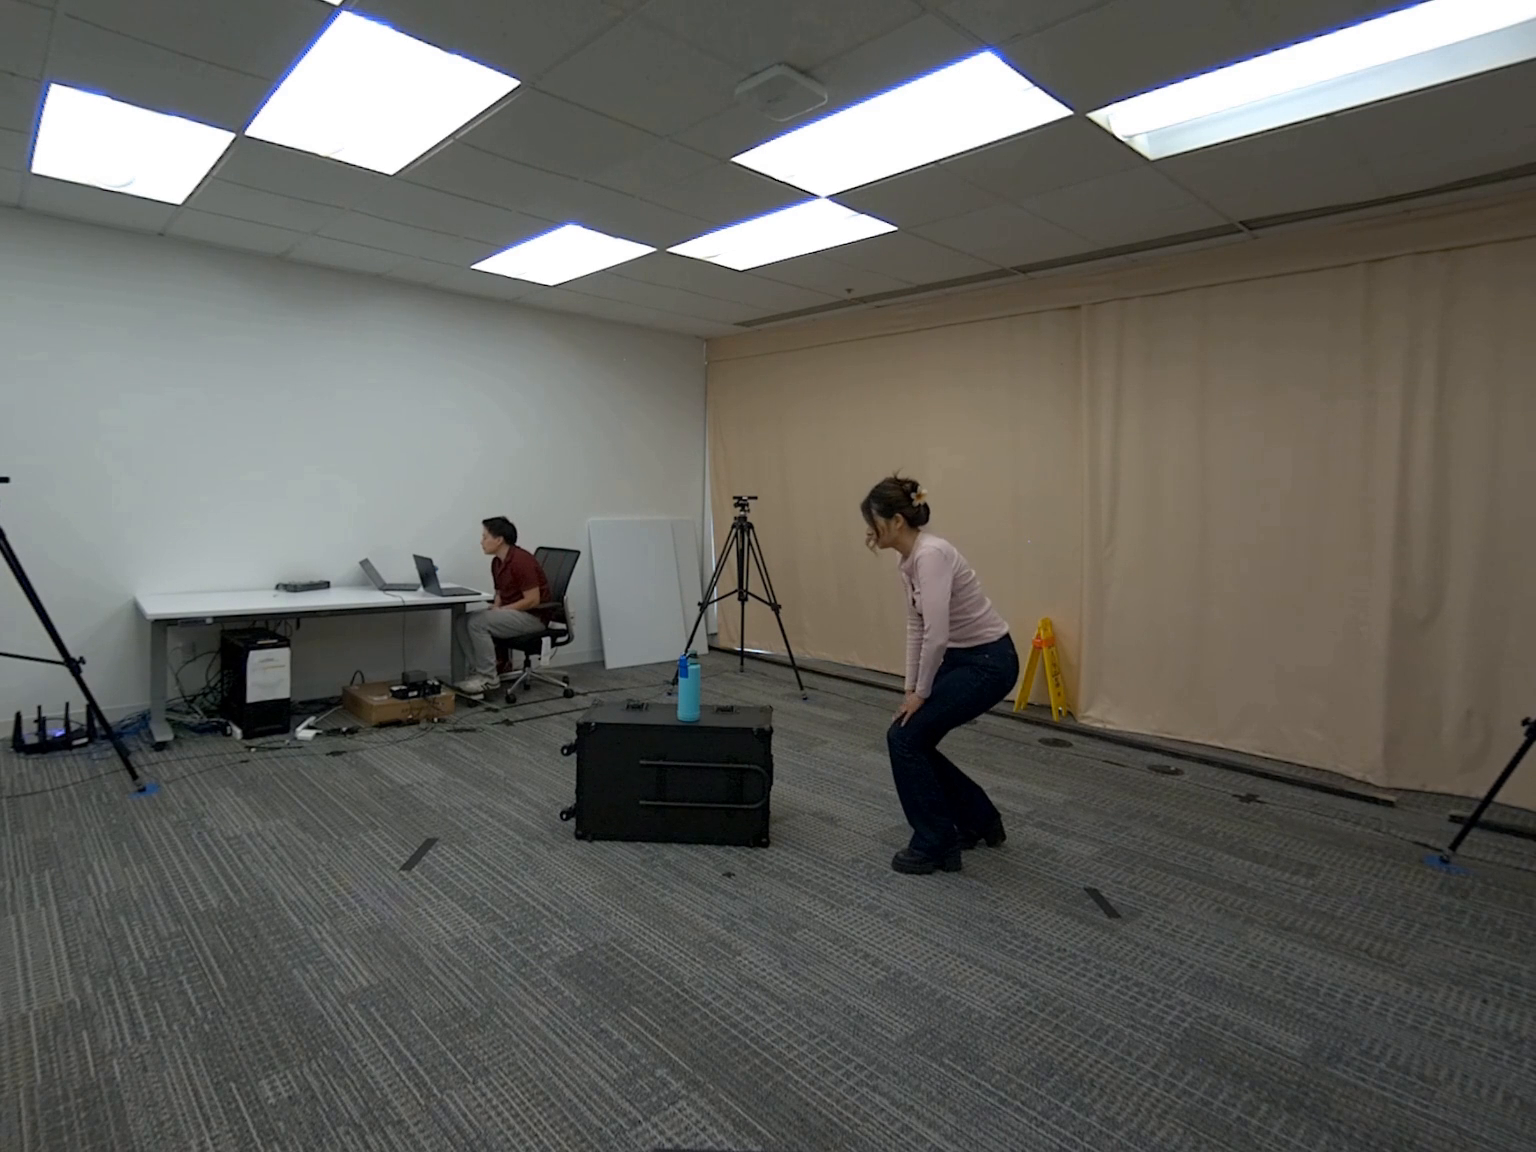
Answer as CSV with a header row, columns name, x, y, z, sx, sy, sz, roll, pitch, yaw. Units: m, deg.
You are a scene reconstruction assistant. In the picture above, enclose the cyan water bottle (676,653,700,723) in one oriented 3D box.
name,x,y,z,sx,sy,sz,roll,pitch,yaw
cyan water bottle,-0.323,0.445,3.449,0.092,0.283,0.092,2,3,-1
